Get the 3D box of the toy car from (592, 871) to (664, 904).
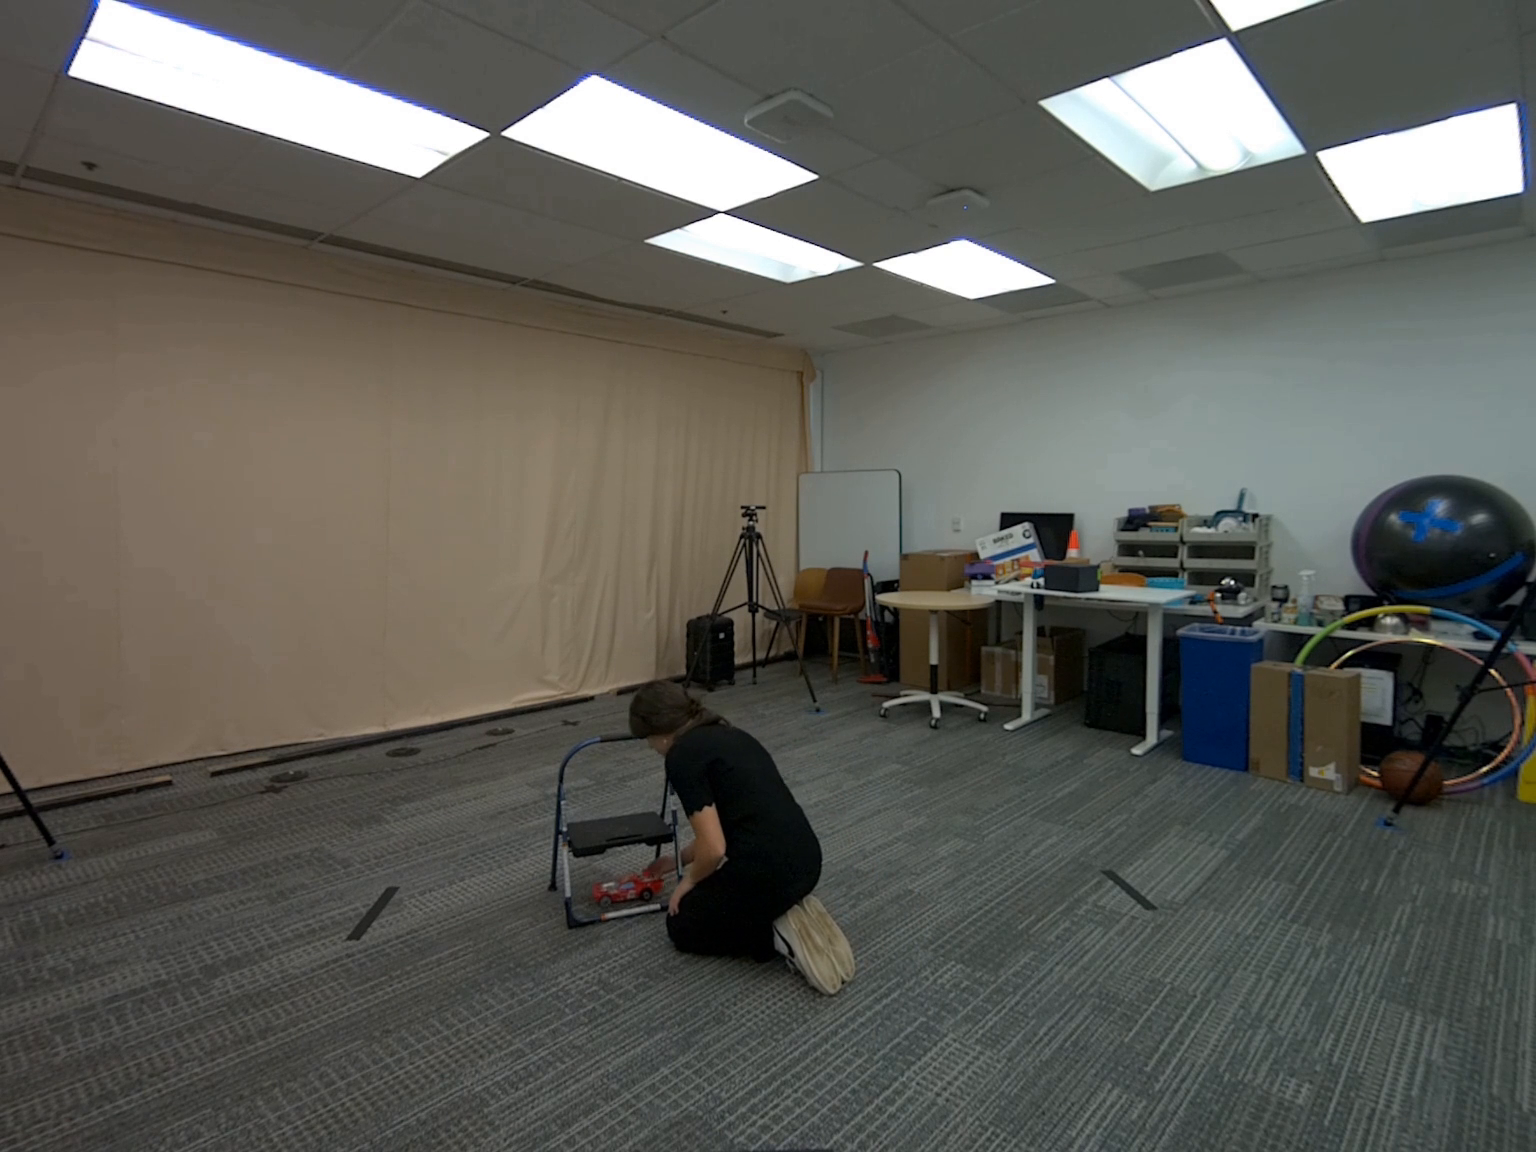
[{"bbox_3d":[-0.491,1.122,3.005,0.251,0.083,0.132,-14,7,-14],"label":"toy car"}]
